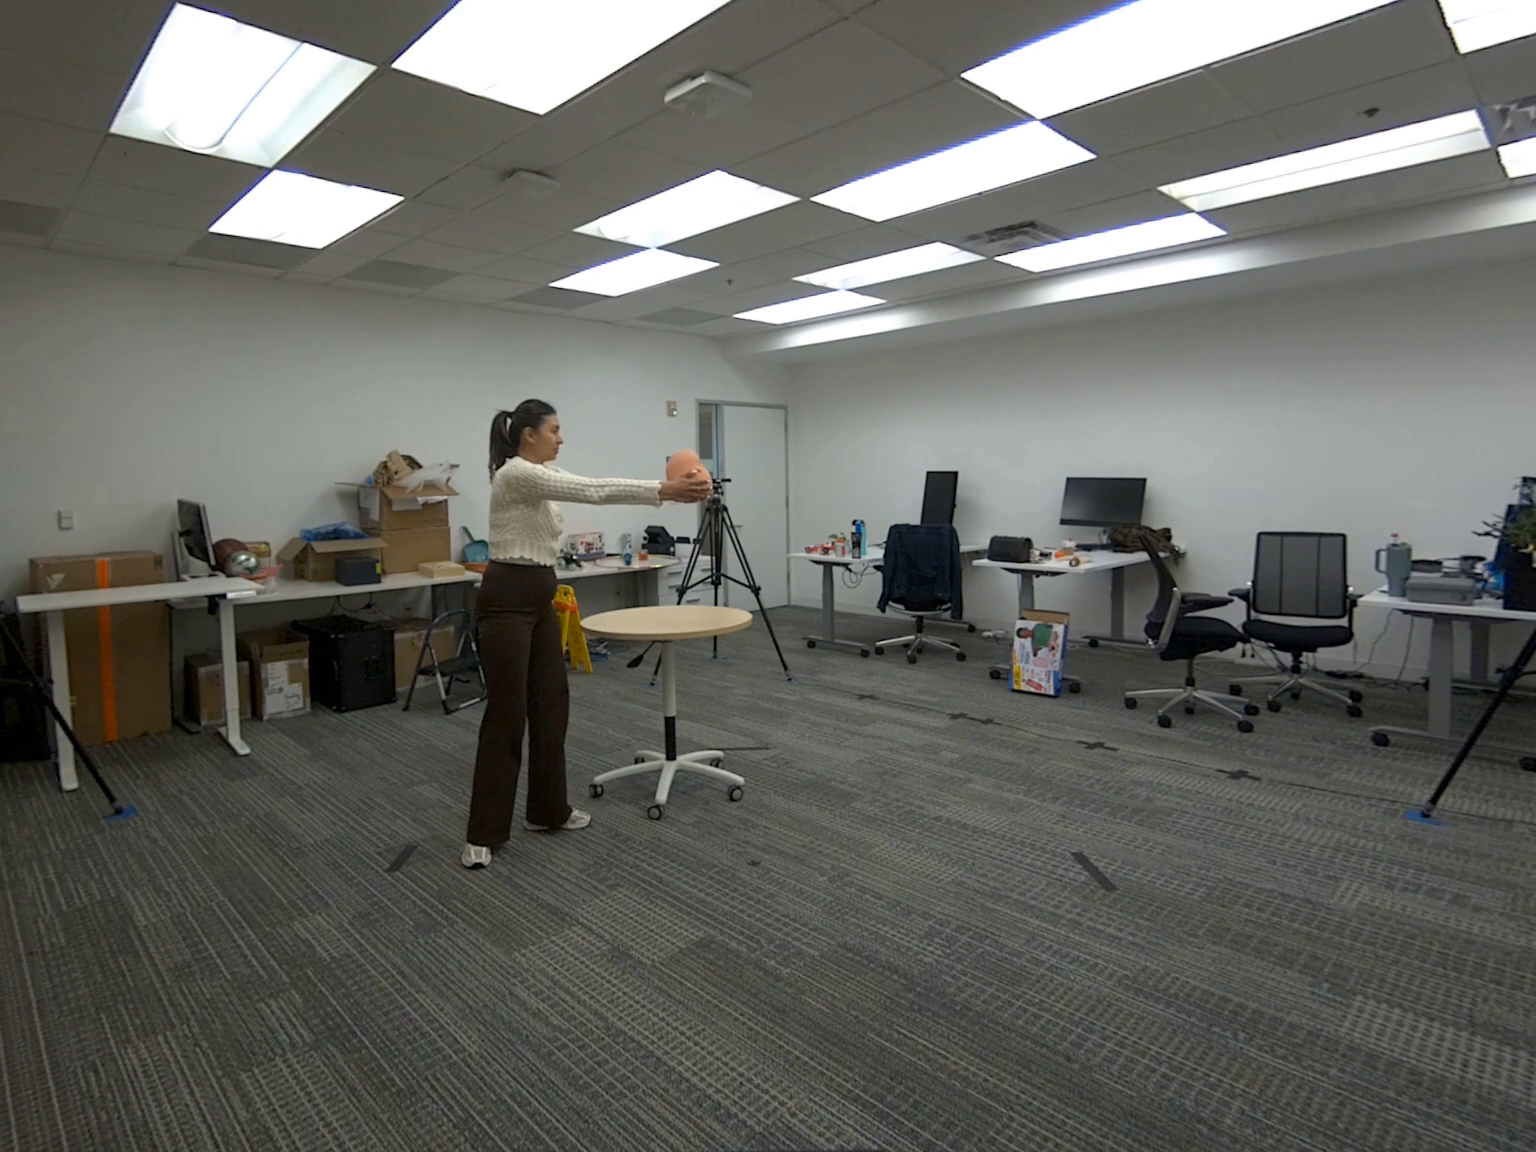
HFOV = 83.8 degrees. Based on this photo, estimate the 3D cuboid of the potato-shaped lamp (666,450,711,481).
[{"bbox_3d":[-0.315,-0.392,3.316,0.172,0.196,0.165,-11,8,2],"label":"potato-shaped lamp"}]
